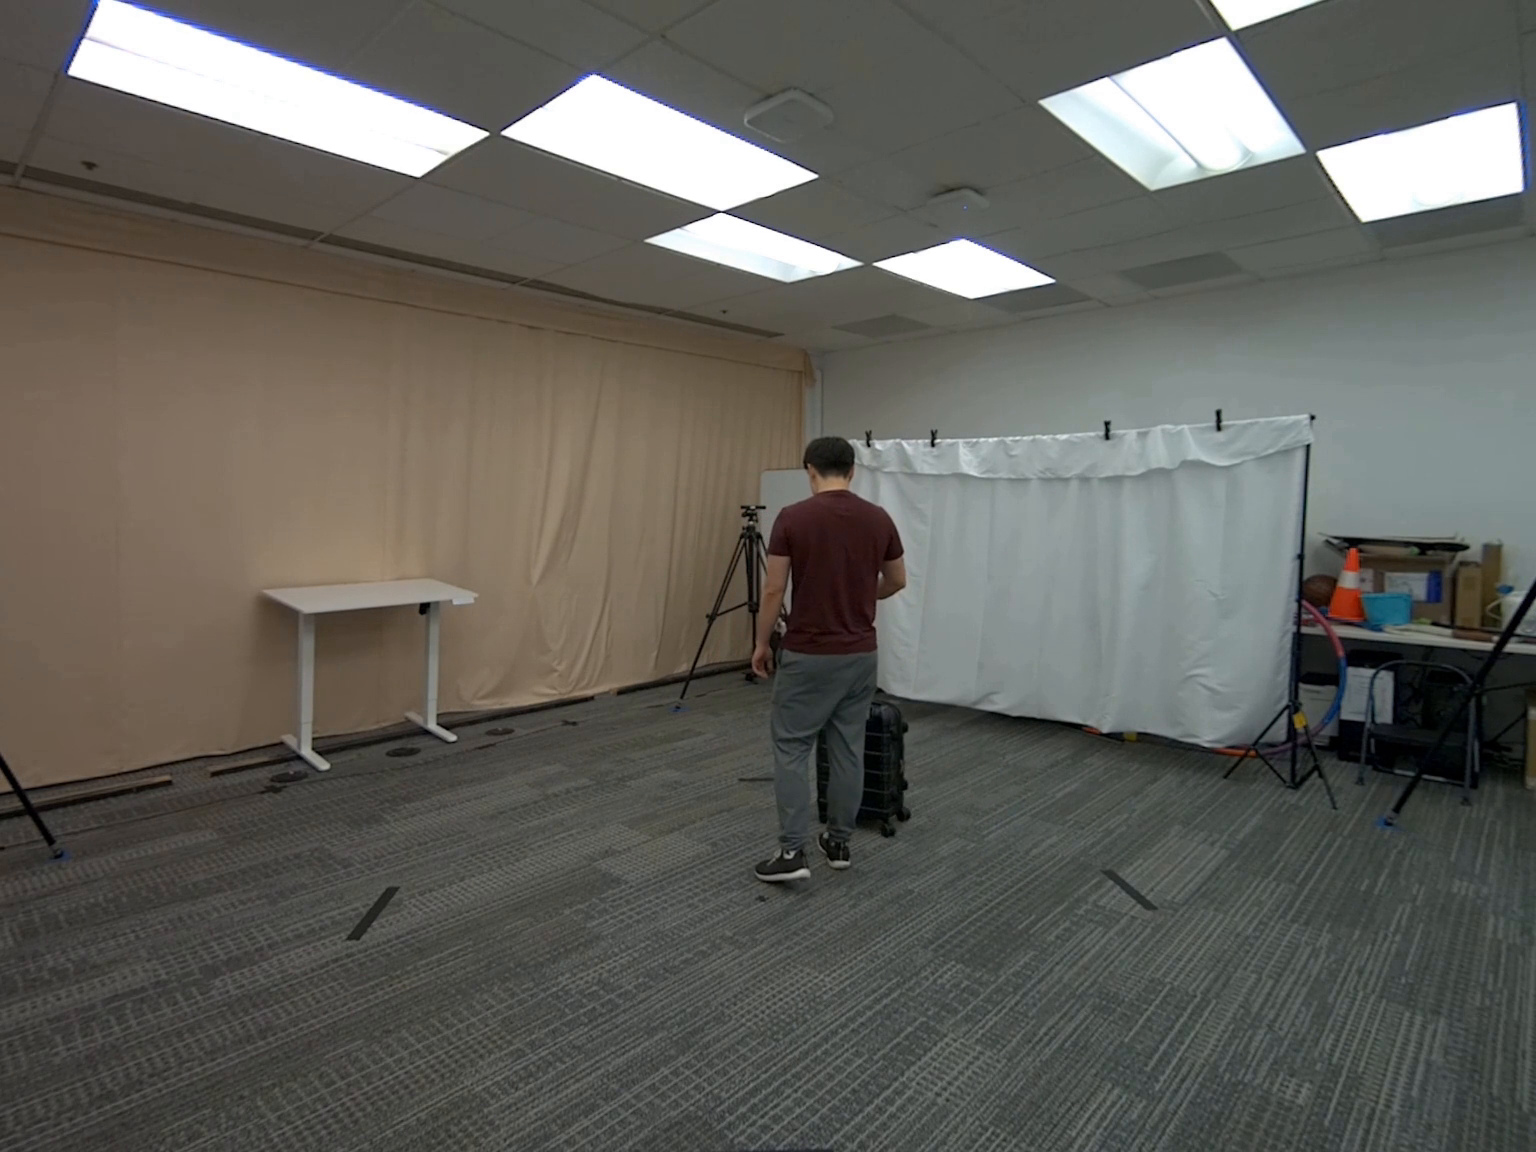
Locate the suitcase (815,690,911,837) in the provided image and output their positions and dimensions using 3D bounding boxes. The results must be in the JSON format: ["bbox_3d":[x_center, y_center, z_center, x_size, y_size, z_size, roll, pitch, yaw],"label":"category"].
[{"bbox_3d":[0.414,0.606,3.724,0.394,0.979,0.250,-1,0,28],"label":"suitcase"}]
